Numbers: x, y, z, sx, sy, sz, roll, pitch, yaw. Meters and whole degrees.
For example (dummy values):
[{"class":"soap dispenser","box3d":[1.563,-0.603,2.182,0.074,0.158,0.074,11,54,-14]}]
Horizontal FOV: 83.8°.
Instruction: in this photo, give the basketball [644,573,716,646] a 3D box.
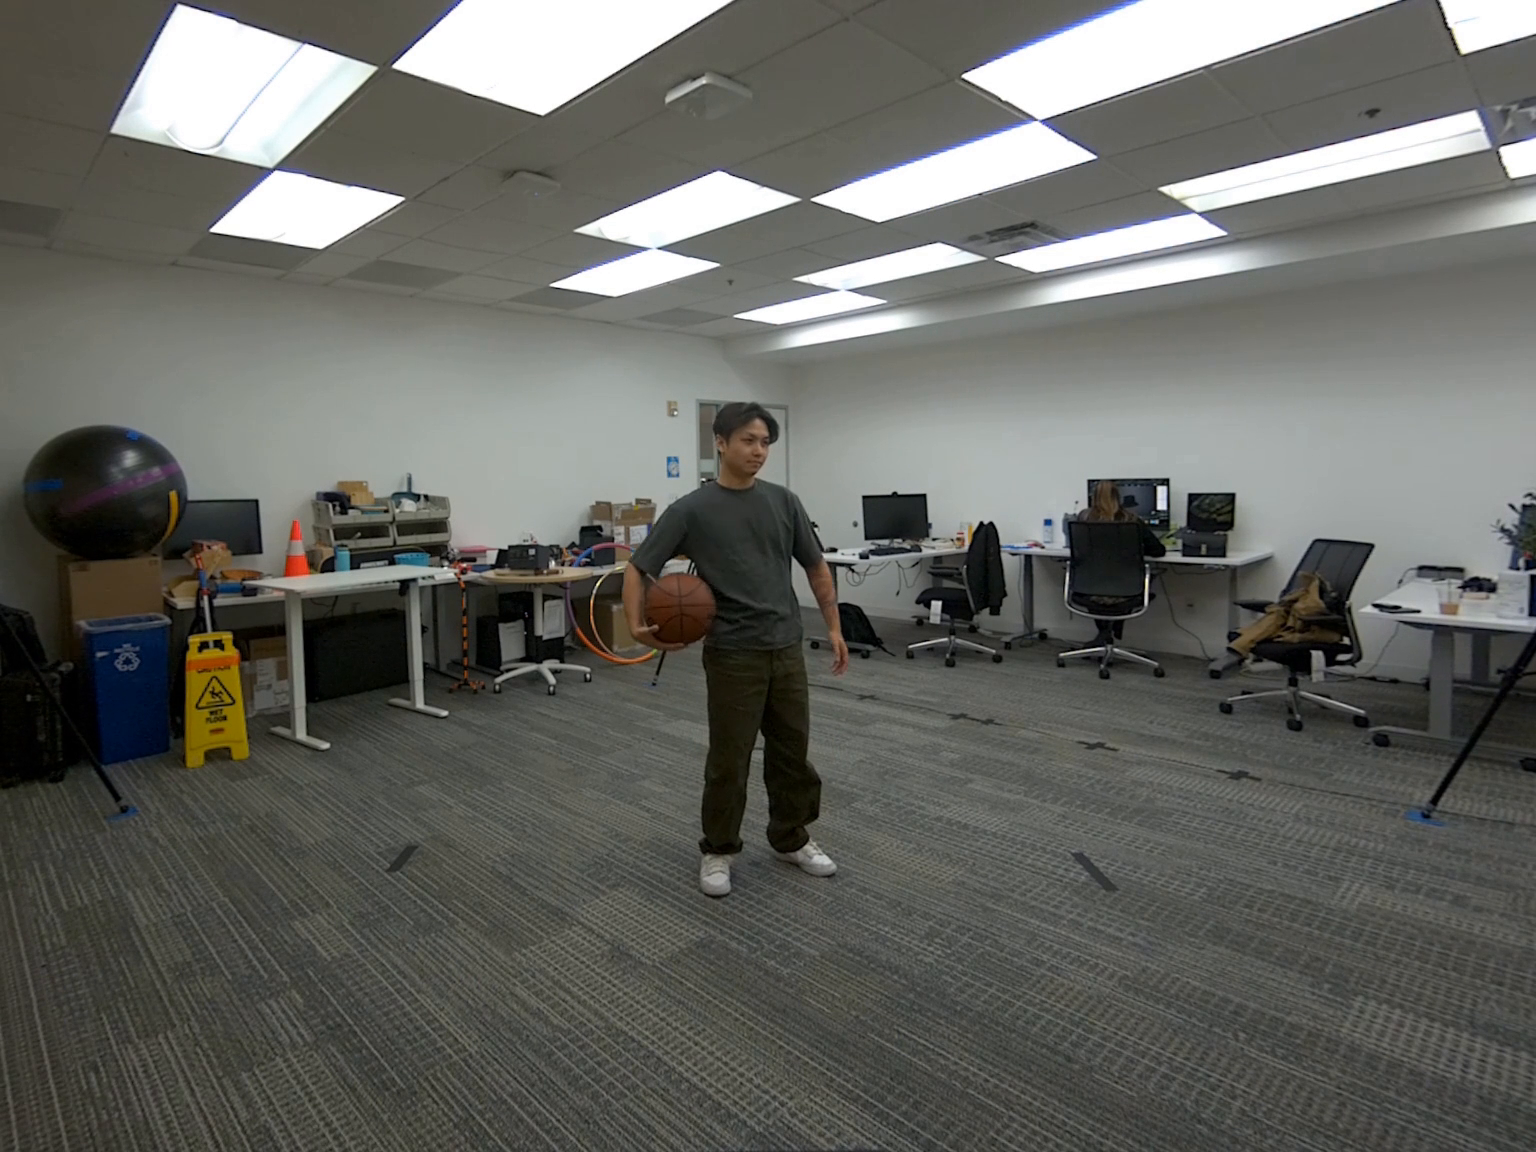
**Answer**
[{"class":"basketball","box3d":[-0.276,0.104,2.801,0.236,0.235,0.237,-1,5,-2]}]
